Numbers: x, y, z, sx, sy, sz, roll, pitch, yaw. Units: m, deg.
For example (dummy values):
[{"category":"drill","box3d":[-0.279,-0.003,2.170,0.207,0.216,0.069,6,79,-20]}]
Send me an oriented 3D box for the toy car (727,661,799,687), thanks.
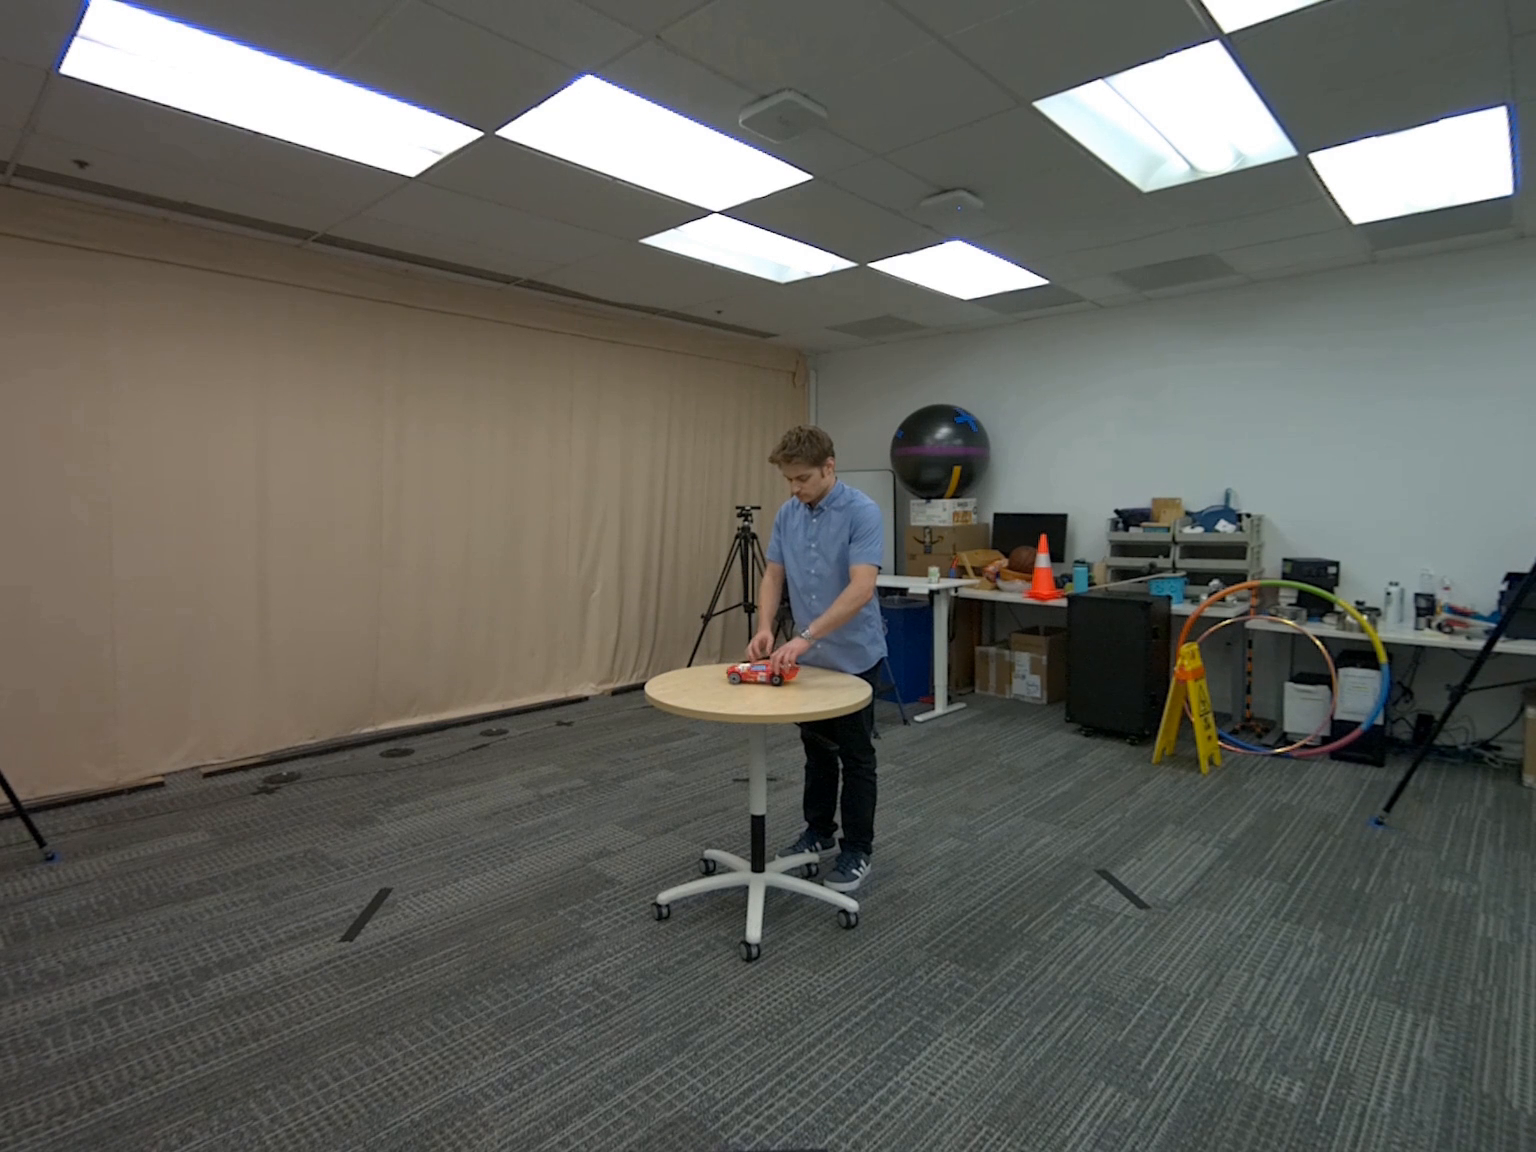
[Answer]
[{"category":"toy car","box3d":[-0.011,0.335,2.899,0.258,0.083,0.128,-9,2,14]}]
